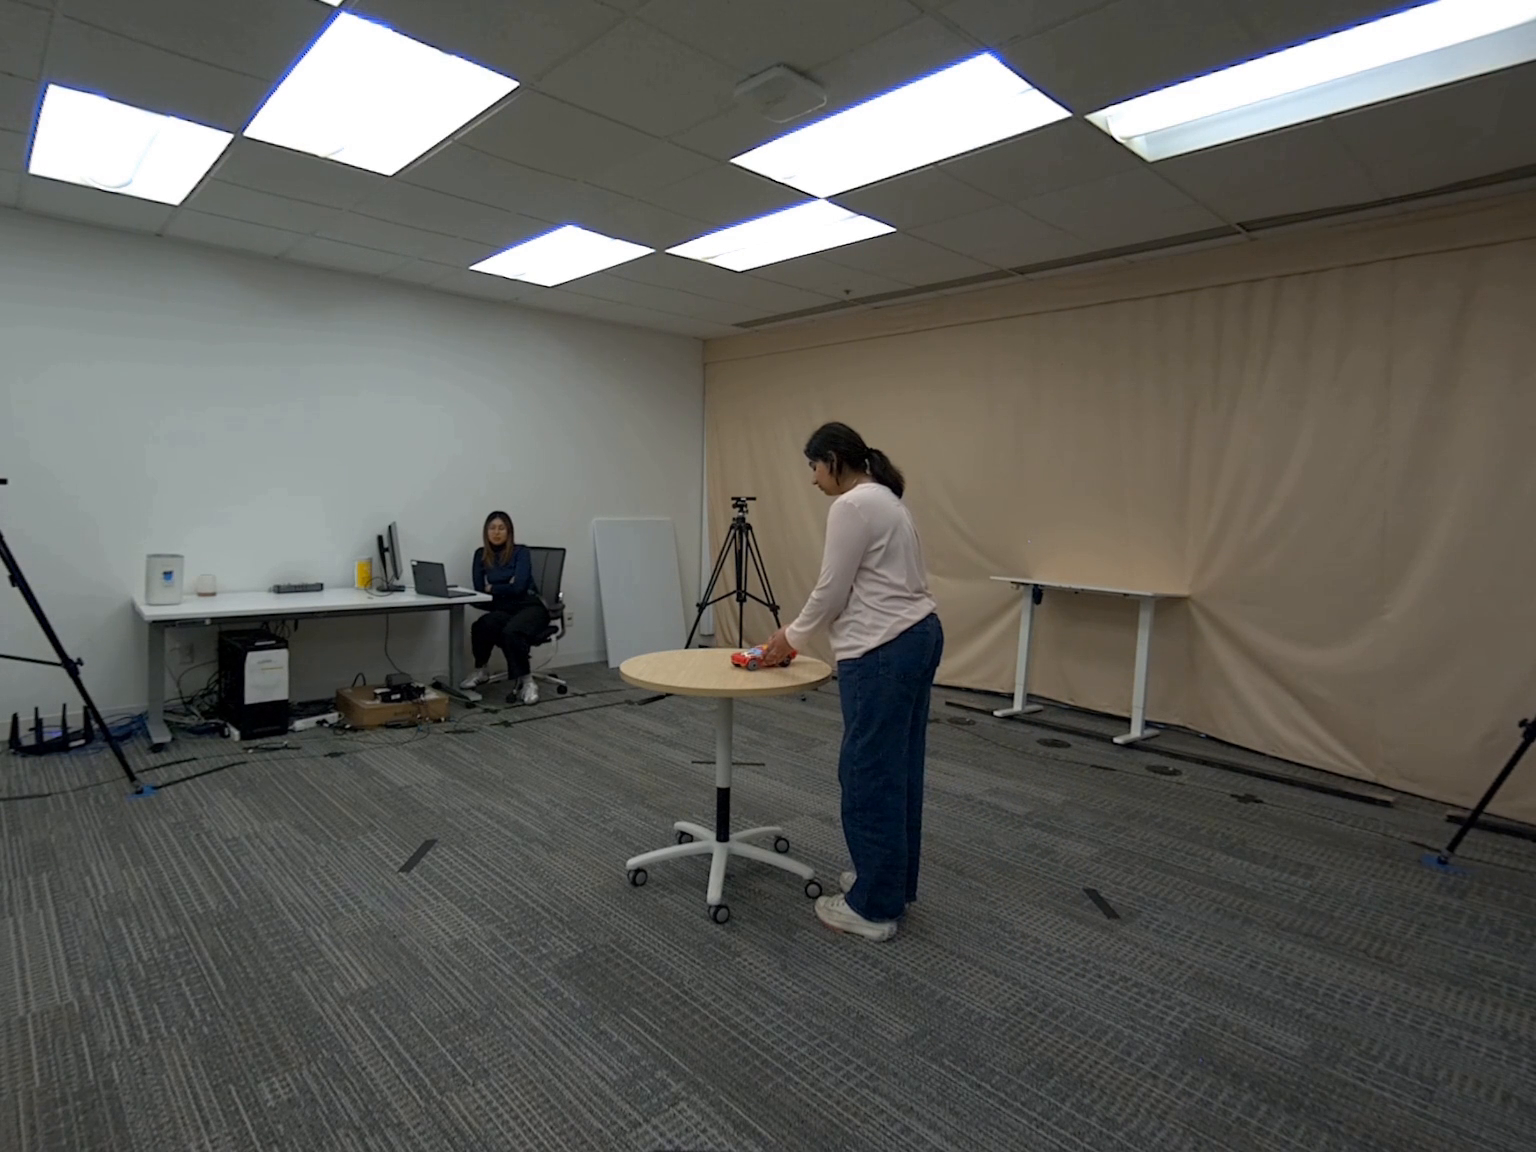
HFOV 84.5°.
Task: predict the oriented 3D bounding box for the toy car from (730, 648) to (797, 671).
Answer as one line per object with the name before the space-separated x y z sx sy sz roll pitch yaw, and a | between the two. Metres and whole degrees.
toy car | -0.015 0.294 3.077 0.251 0.083 0.133 -11 8 -25
